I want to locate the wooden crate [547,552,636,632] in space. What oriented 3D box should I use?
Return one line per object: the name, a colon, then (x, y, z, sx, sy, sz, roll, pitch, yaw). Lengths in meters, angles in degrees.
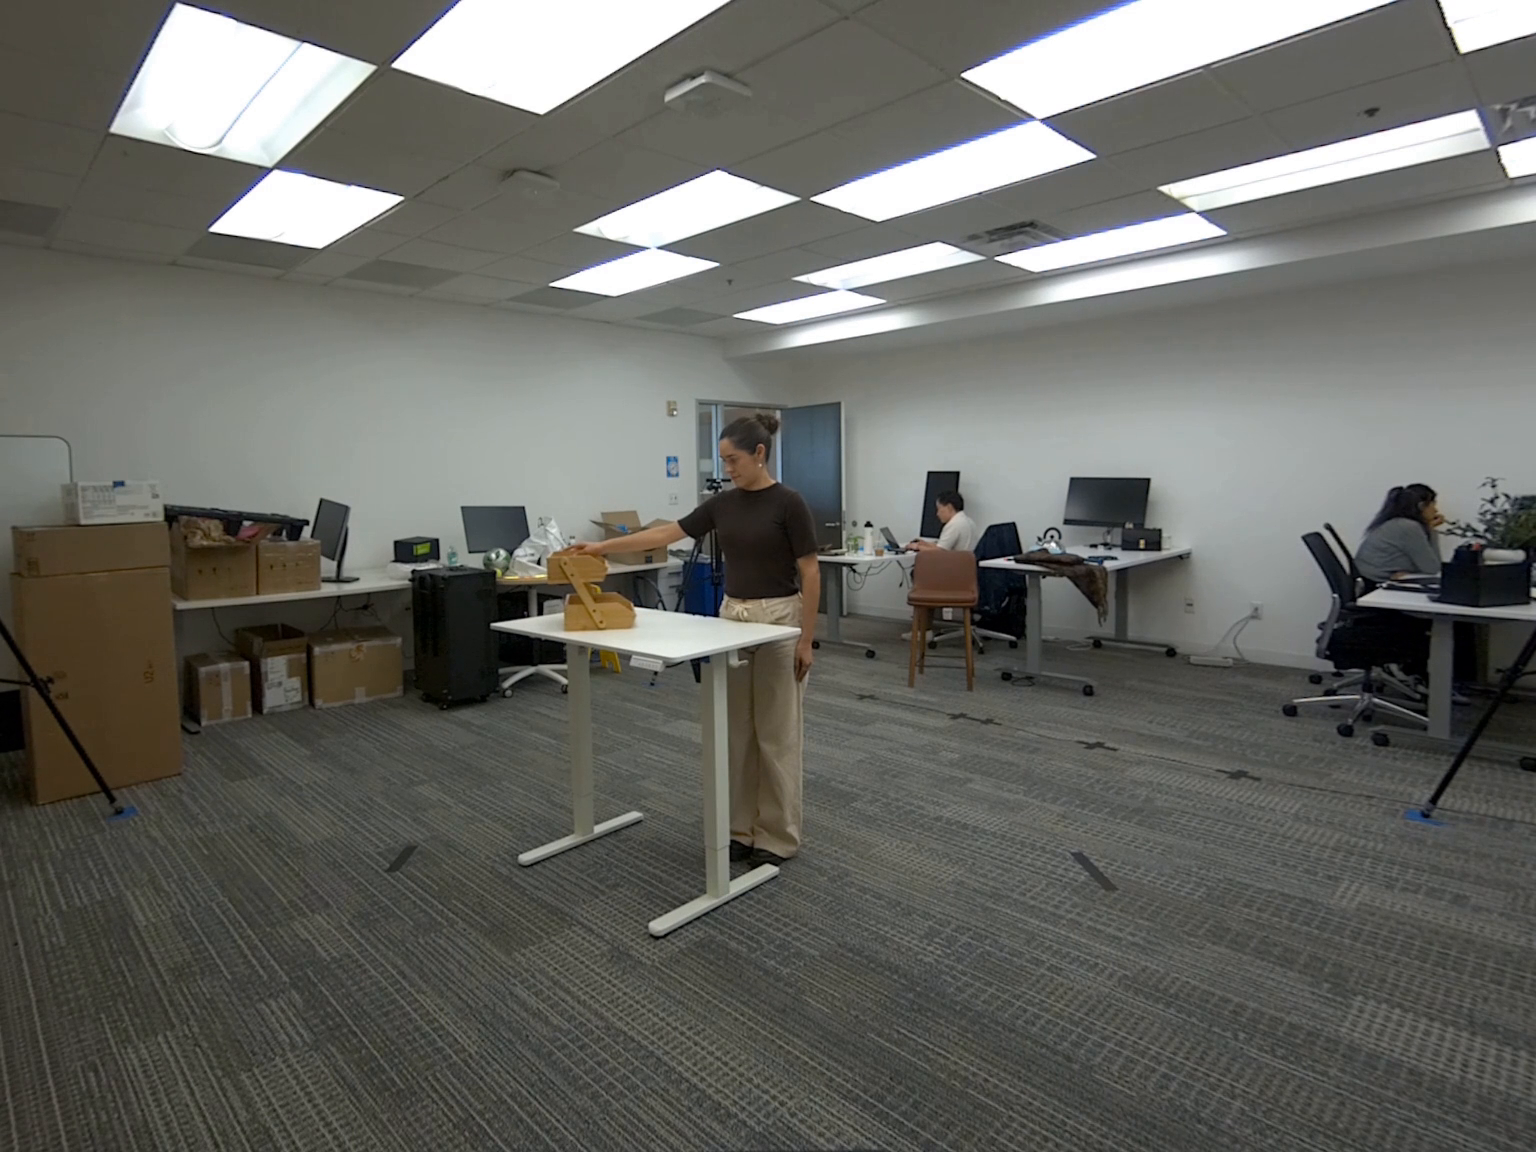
wooden crate: (-0.647, 0.041, 3.107, 0.299, 0.272, 0.329, -3, 5, -10)
